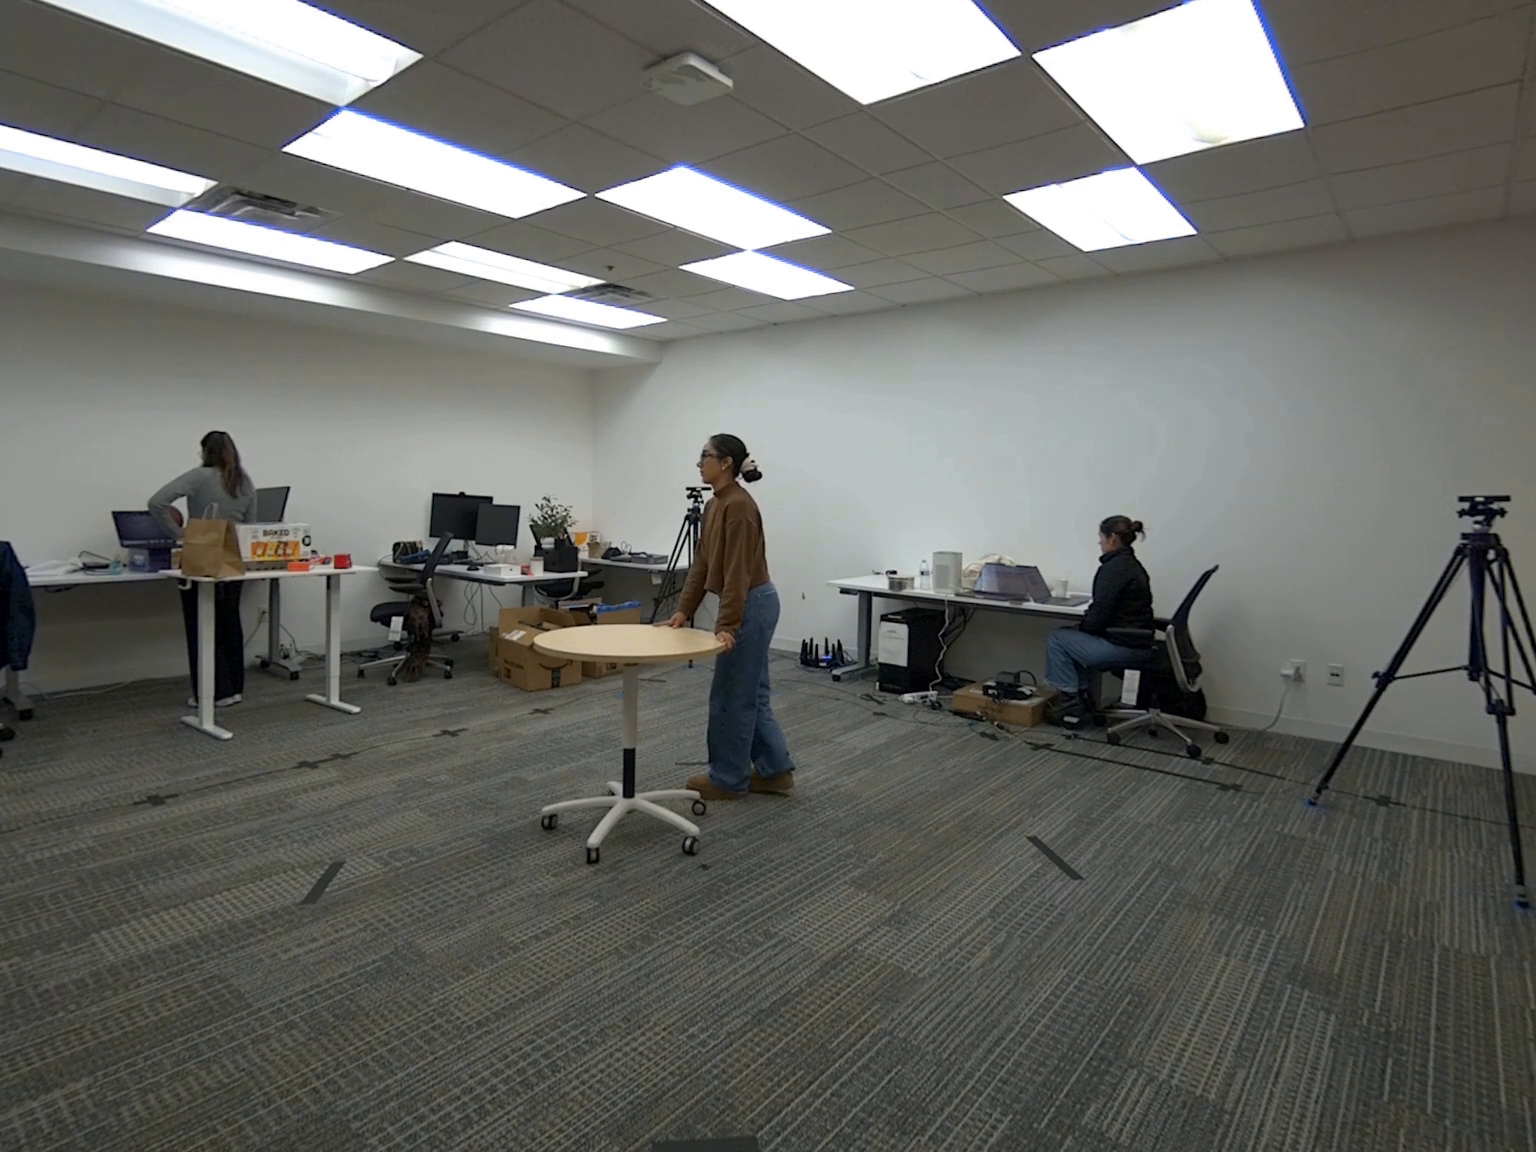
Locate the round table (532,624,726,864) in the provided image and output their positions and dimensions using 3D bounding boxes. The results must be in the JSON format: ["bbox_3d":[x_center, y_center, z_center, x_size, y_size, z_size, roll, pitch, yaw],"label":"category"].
[{"bbox_3d":[-0.568,0.633,3.436,0.784,0.784,0.789,1,4,-2],"label":"round table"}]
